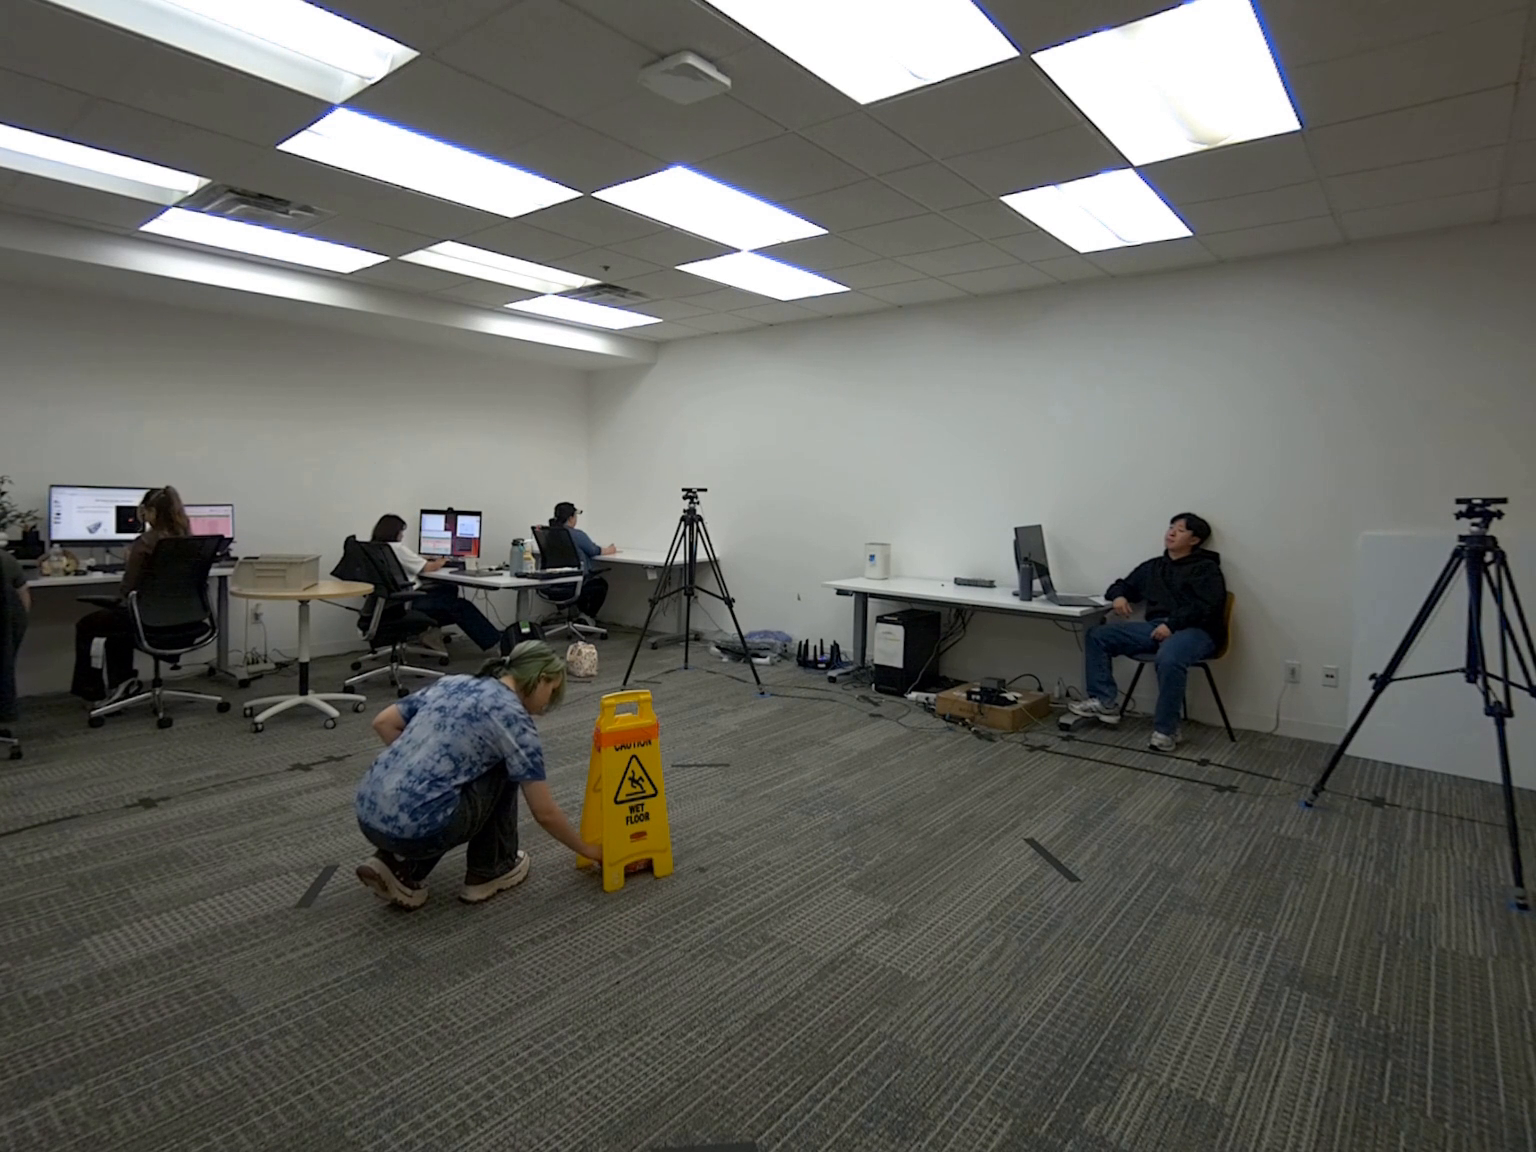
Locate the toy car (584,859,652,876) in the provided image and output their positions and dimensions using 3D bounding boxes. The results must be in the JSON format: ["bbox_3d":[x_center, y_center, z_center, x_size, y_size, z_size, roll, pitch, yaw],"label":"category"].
[{"bbox_3d":[-0.496,1.036,3.094,0.249,0.082,0.134,-14,11,-33],"label":"toy car"}]
